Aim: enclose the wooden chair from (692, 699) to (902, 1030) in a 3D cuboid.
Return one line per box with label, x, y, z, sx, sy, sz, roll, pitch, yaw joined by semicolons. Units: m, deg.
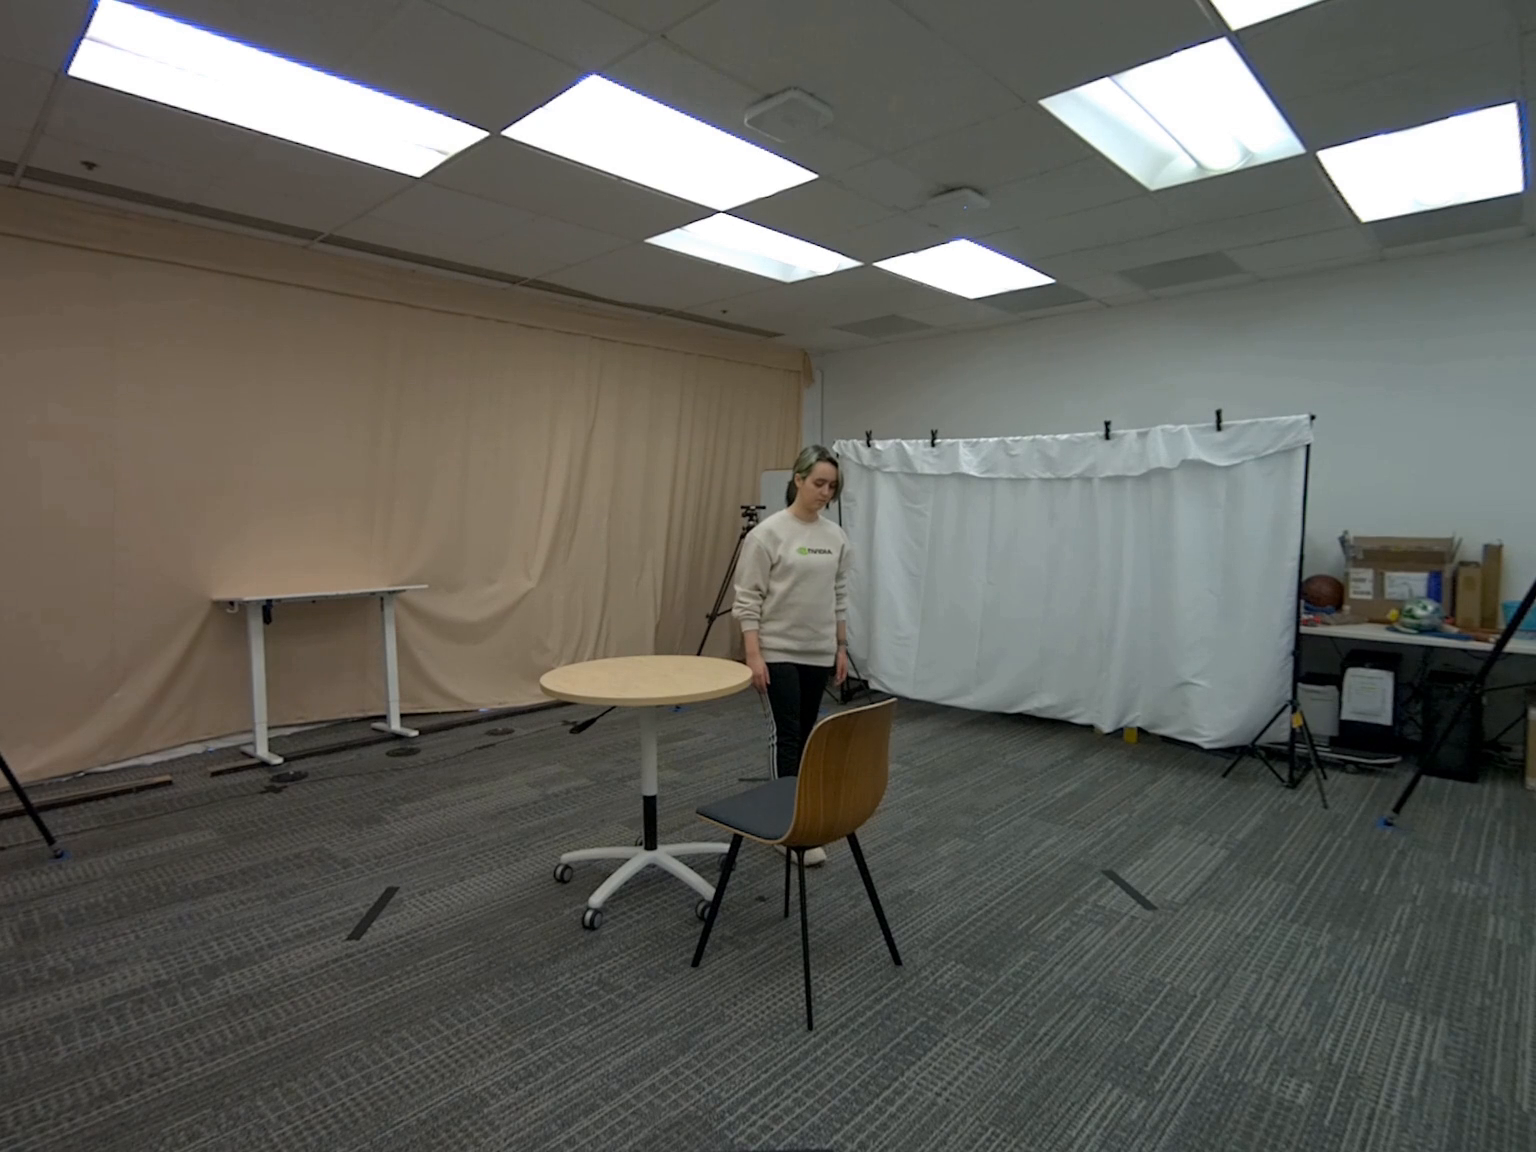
wooden chair;0.079;0.748;2.525;0.541;0.874;0.463;8;8;42
